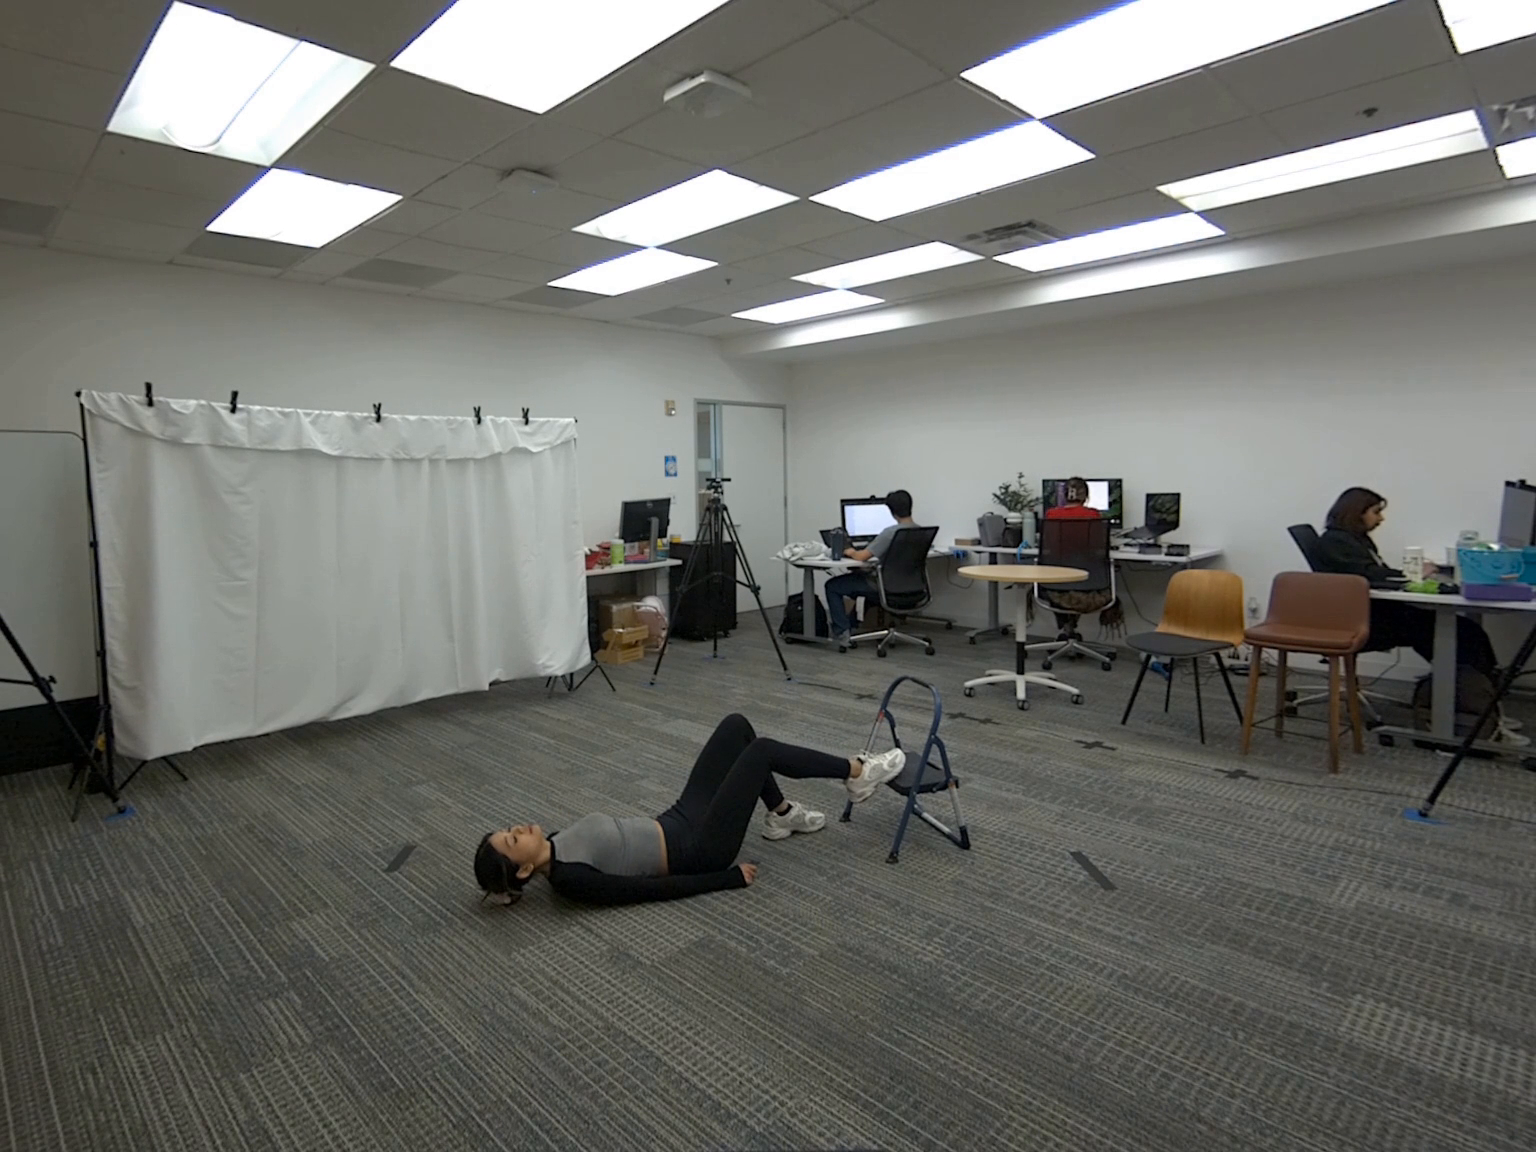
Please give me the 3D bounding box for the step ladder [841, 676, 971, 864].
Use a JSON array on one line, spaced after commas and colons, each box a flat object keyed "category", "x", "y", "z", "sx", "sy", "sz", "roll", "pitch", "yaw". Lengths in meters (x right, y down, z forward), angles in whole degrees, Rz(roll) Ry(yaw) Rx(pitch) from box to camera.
[{"category": "step ladder", "x": 0.523, "y": 0.708, "z": 3.316, "sx": 0.343, "sy": 0.604, "sz": 0.440, "roll": -3, "pitch": 5, "yaw": -20}]
